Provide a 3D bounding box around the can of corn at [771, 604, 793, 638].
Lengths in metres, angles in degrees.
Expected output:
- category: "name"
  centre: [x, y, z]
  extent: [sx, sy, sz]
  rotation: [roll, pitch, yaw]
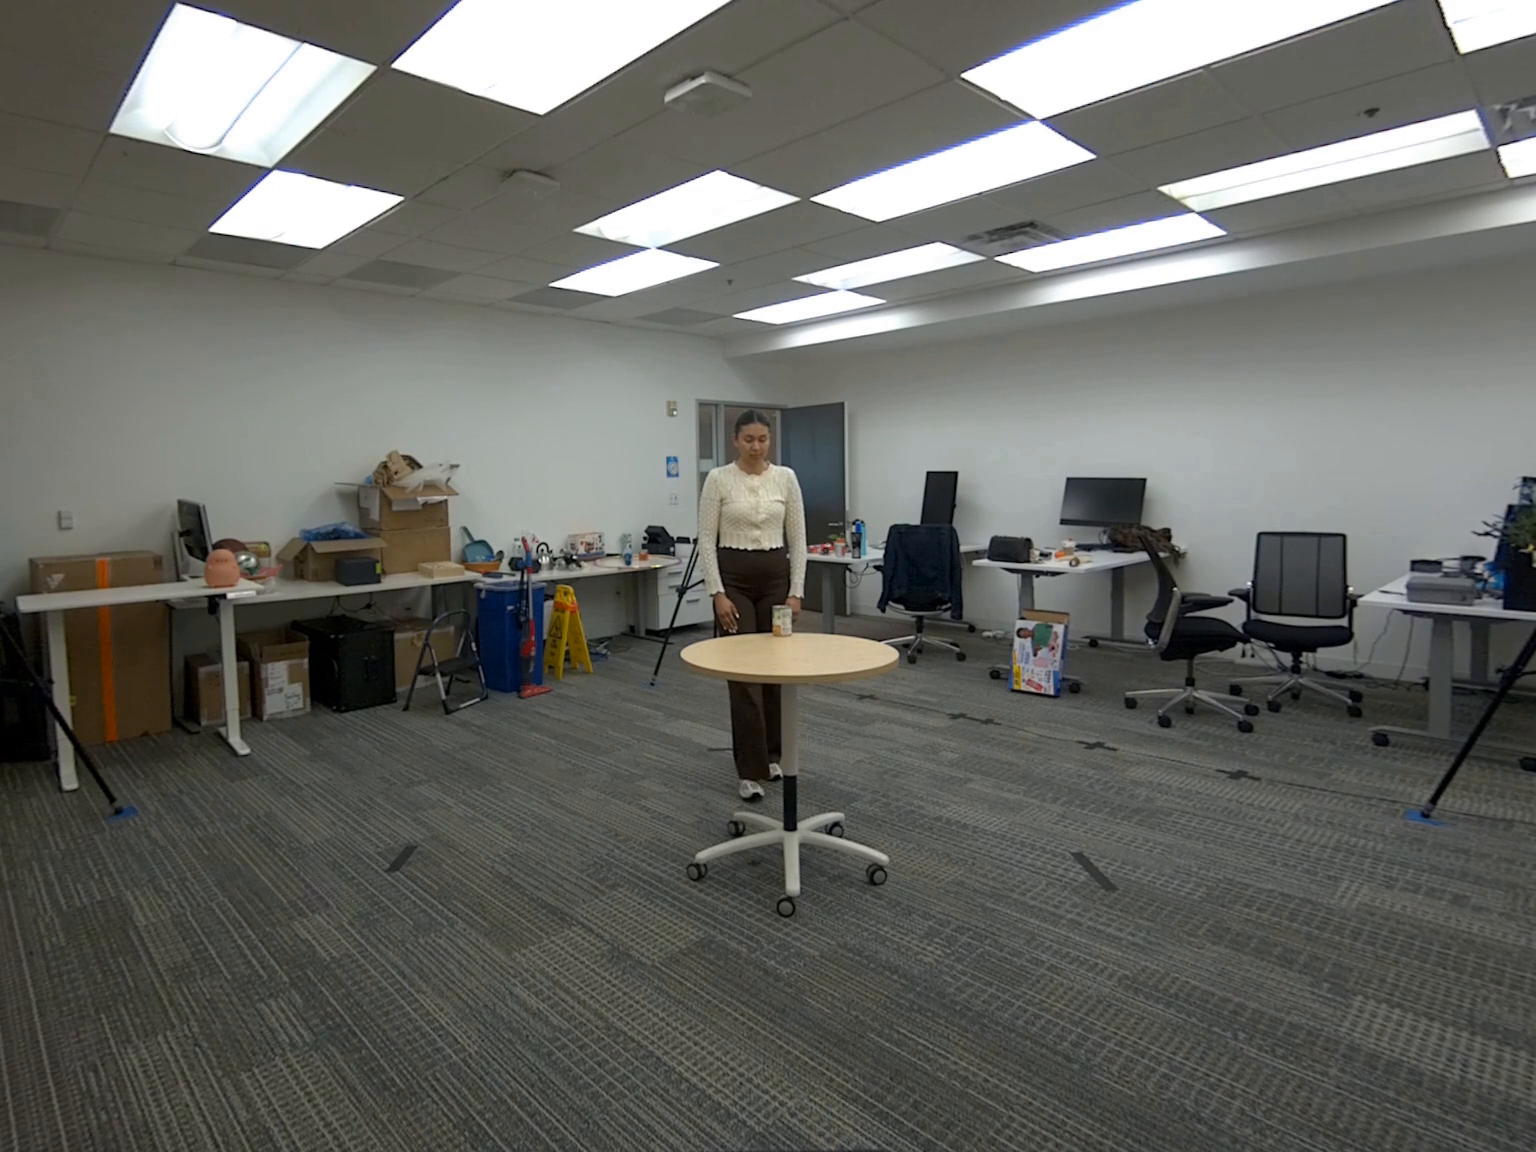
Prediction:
- category: "can of corn"
  centre: [0.047, 0.180, 3.356]
  extent: [0.074, 0.111, 0.074]
  rotation: [1, 4, -2]
